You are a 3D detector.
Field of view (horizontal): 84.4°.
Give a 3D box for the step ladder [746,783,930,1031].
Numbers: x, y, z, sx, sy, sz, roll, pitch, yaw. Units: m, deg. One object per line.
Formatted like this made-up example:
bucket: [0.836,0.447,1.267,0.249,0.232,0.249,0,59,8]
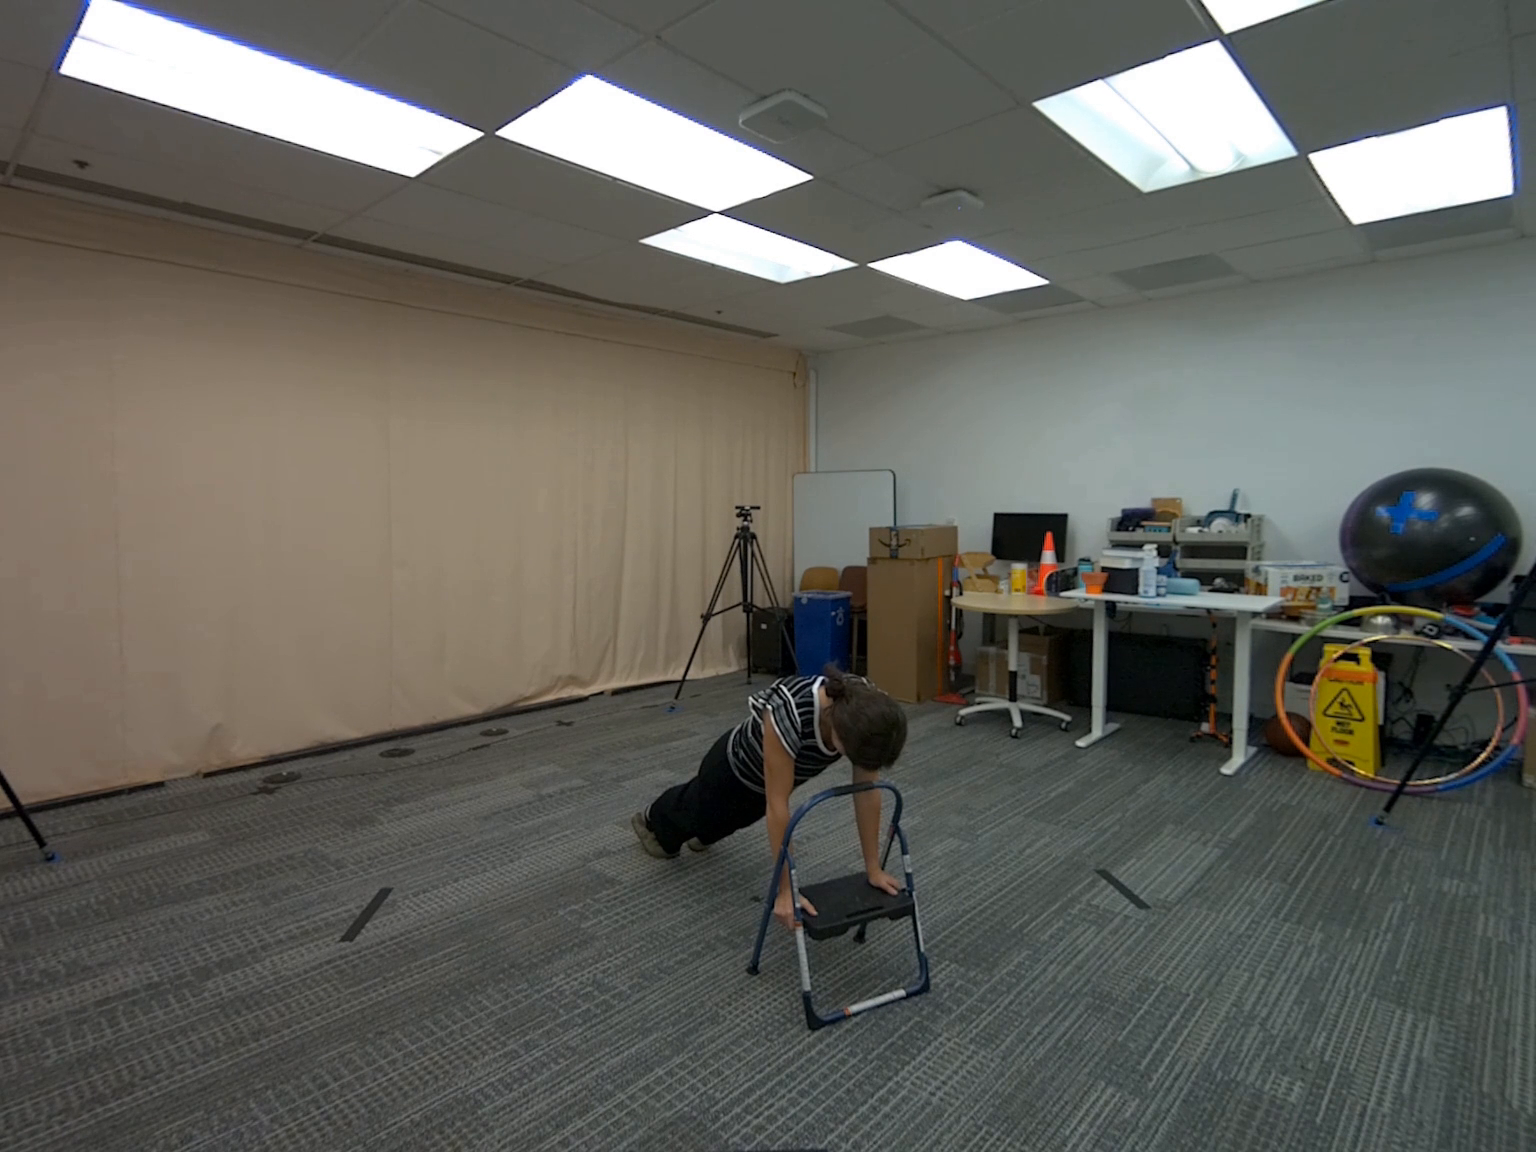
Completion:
step ladder: [0.211,0.888,2.454,0.419,0.604,0.359,-2,5,-30]
